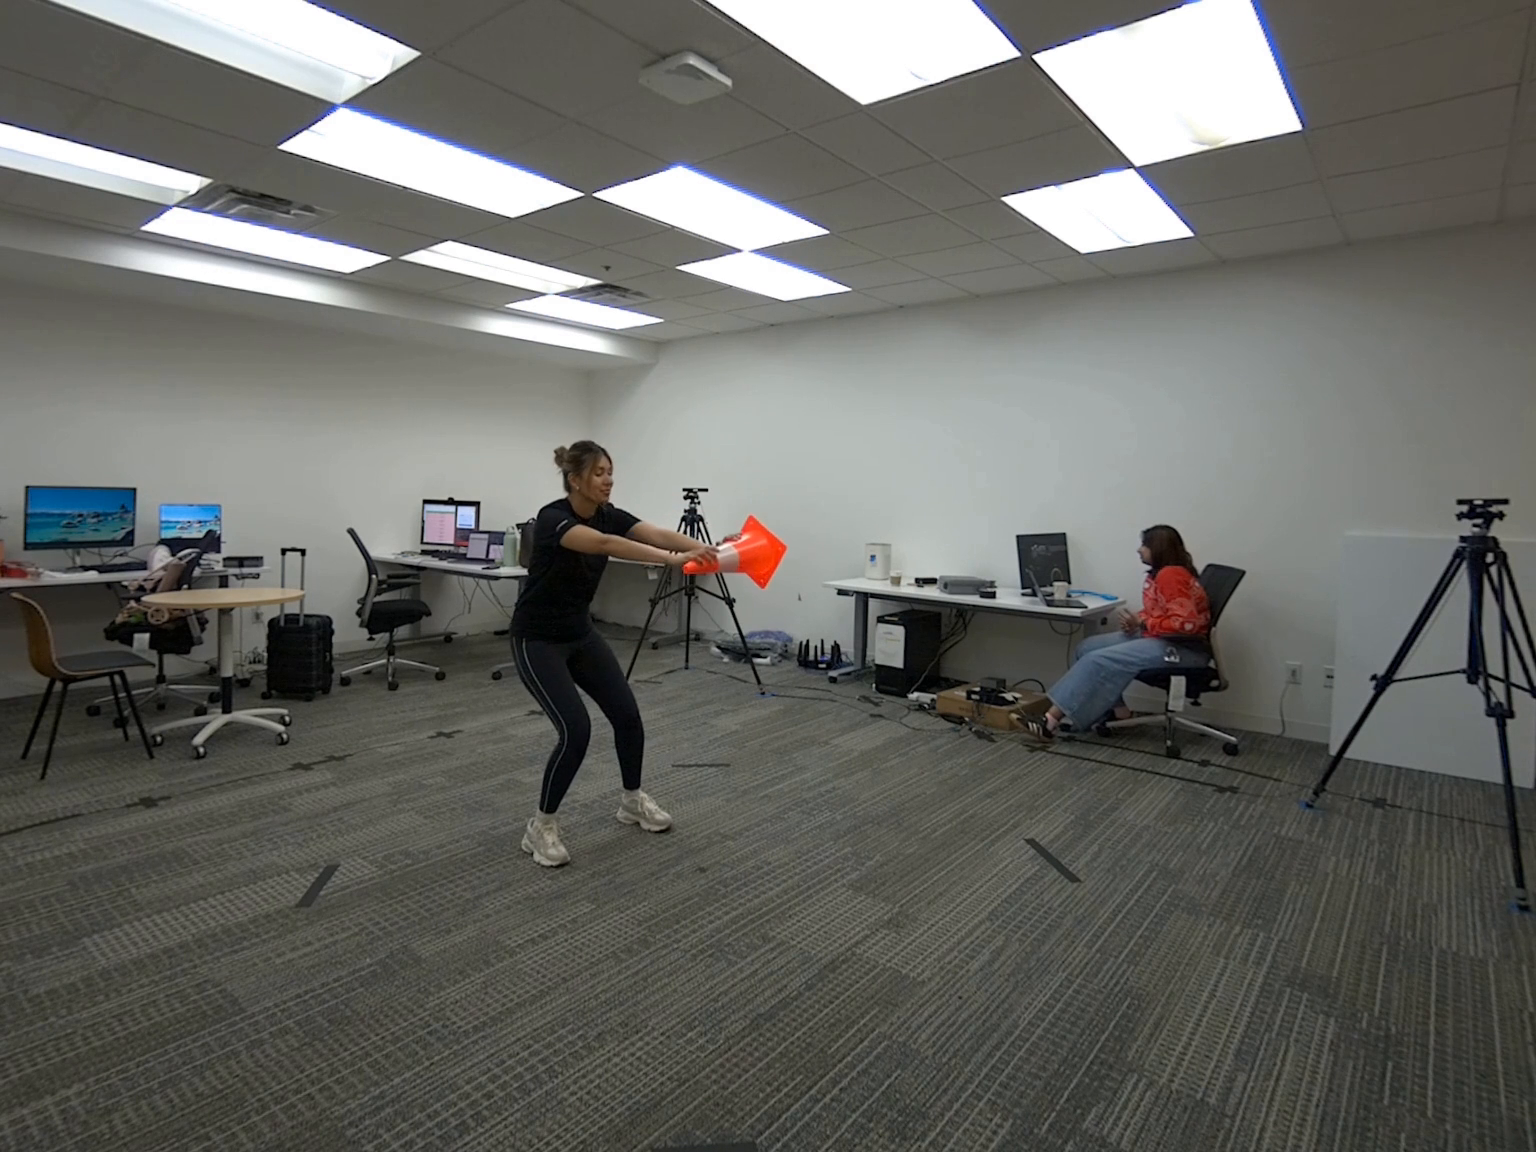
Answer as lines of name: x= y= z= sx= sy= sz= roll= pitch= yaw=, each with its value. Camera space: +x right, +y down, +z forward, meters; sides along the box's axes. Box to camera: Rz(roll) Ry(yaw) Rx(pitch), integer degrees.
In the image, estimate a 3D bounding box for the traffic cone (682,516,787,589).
traffic cone: x=-0.168 y=-0.051 z=2.897 sx=0.211 sy=0.203 sz=0.374 roll=41 pitch=33 yaw=27
